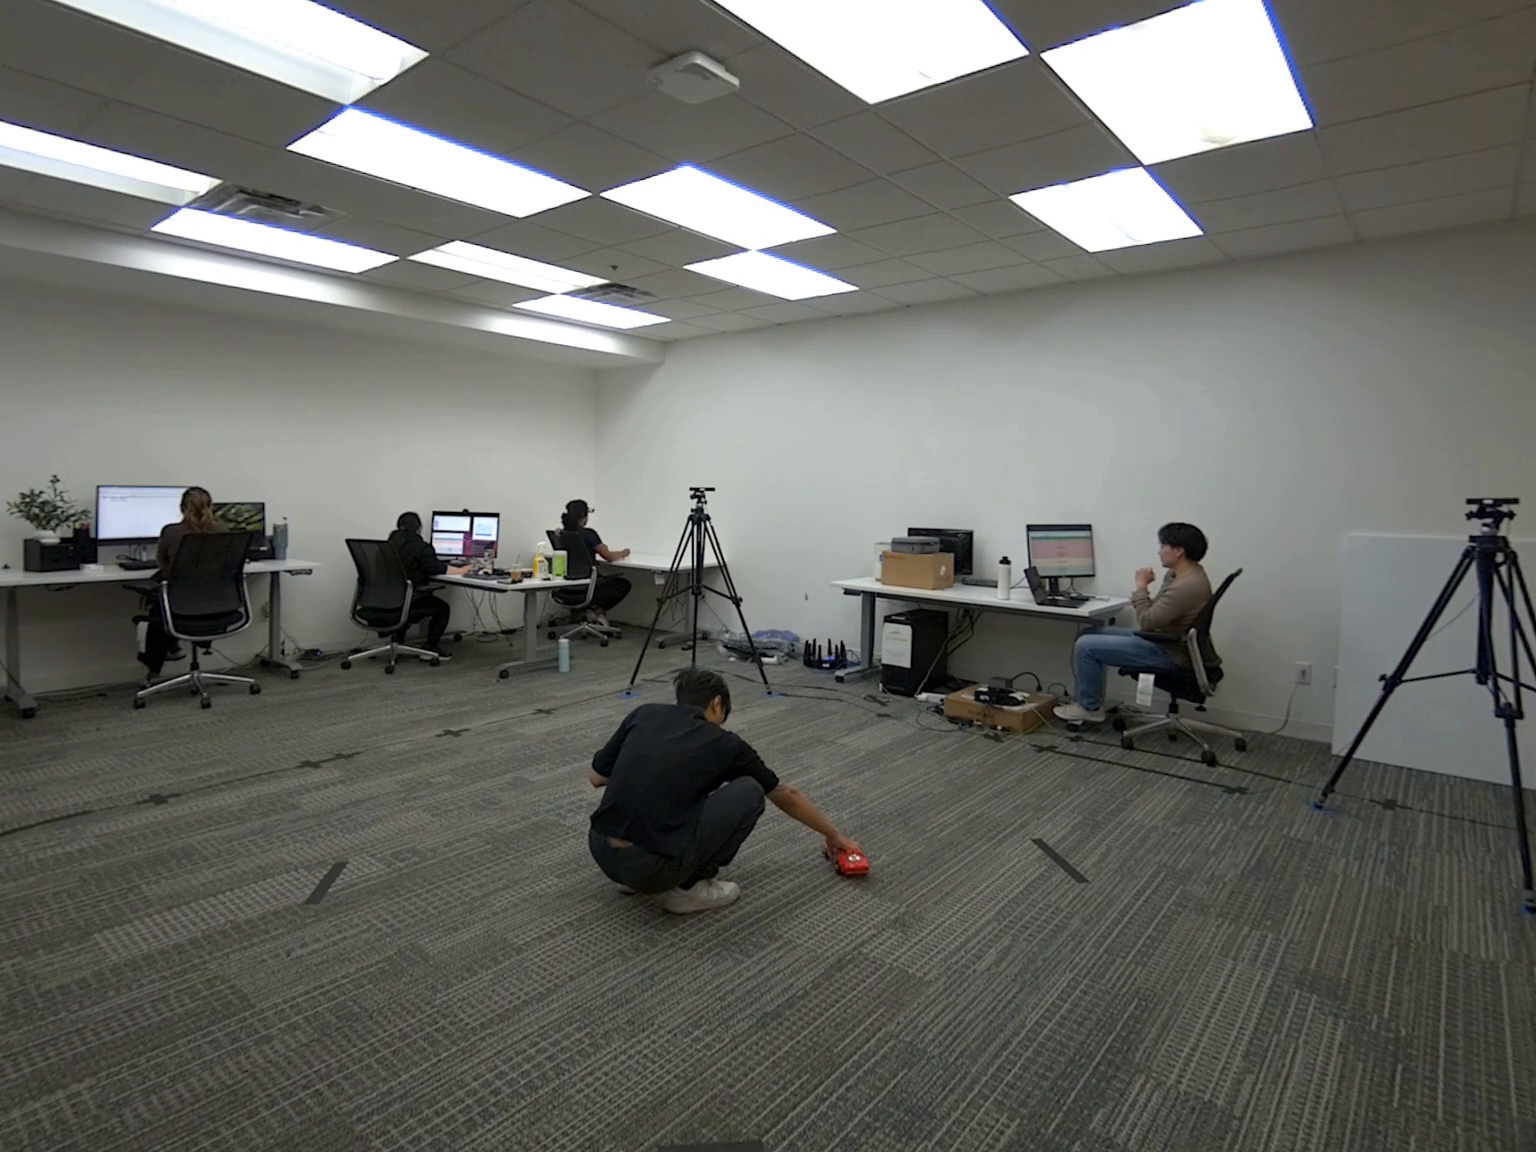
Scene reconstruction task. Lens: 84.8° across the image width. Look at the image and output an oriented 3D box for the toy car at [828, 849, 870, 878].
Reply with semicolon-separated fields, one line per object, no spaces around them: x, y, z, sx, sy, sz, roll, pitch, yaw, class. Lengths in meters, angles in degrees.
0.284;1.048;3.141;0.128;0.084;0.257;-1;-4;-15;toy car
